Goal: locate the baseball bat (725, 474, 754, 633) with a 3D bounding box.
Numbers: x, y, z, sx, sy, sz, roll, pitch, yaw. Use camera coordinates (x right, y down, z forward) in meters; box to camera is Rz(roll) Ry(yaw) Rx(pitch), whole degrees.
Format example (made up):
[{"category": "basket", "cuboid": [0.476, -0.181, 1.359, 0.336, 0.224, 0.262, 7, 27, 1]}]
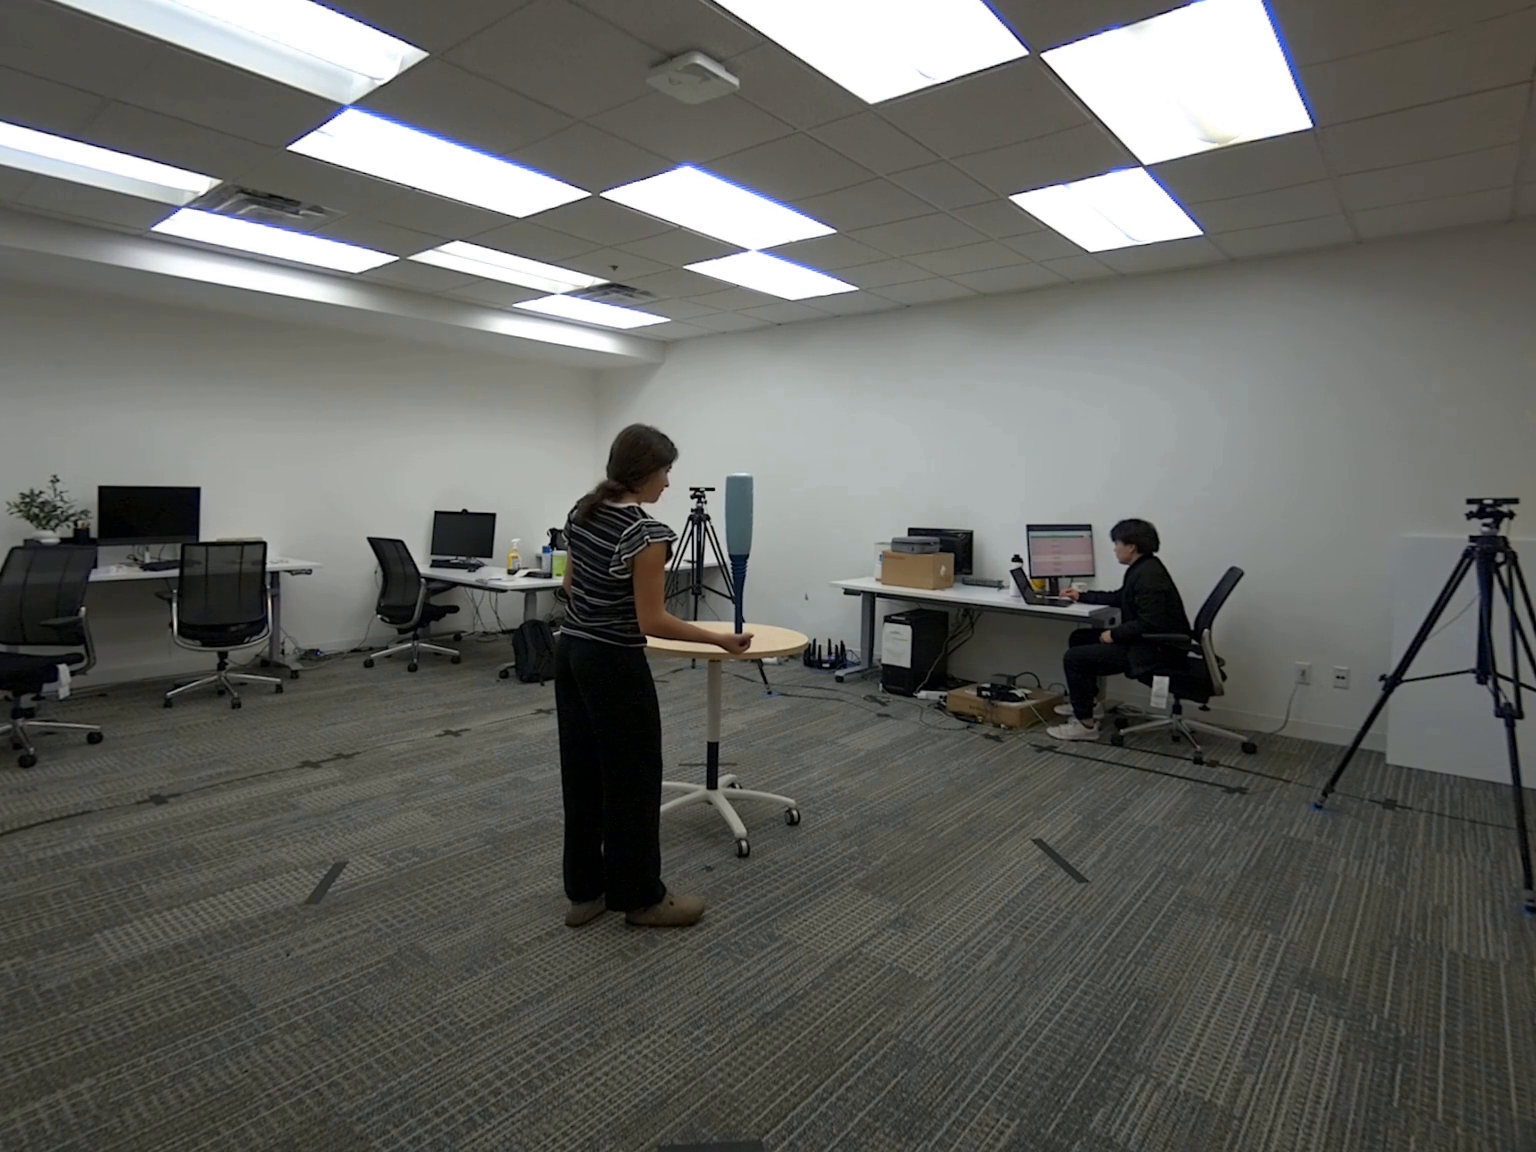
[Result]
[{"category": "baseball bat", "cuboid": [-0.109, -0.050, 2.660, 0.089, 0.540, 0.090, 0, 6, -2]}]
